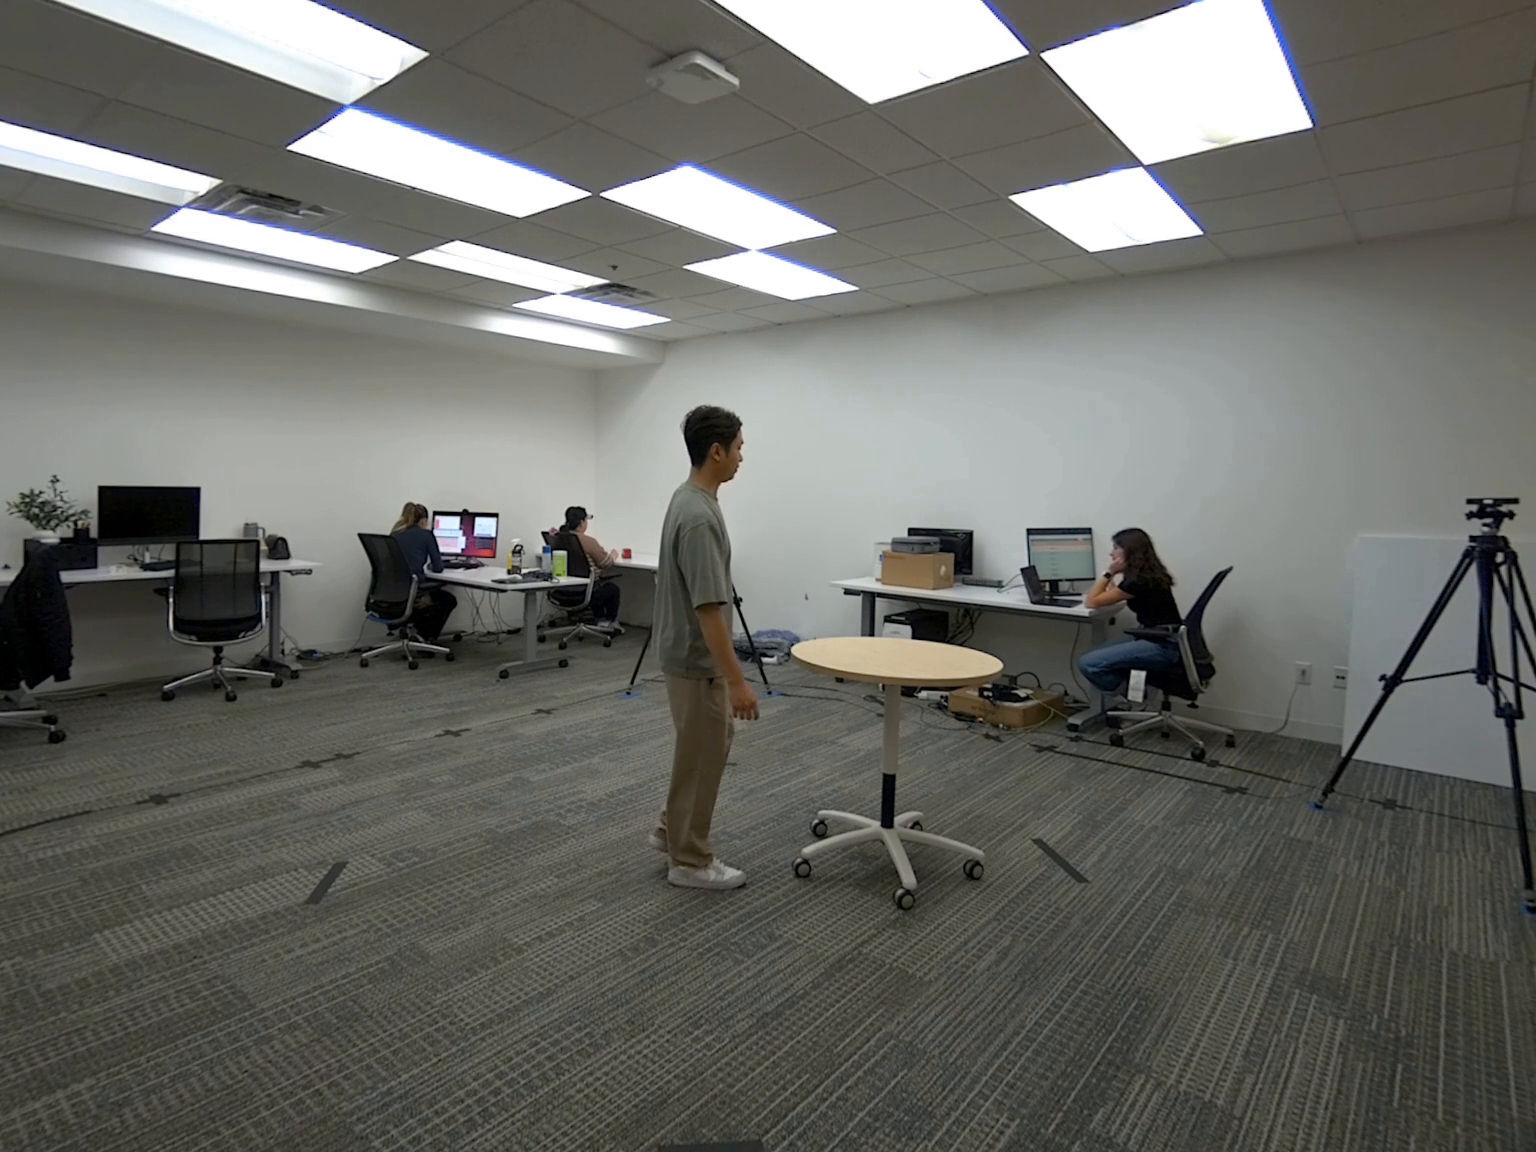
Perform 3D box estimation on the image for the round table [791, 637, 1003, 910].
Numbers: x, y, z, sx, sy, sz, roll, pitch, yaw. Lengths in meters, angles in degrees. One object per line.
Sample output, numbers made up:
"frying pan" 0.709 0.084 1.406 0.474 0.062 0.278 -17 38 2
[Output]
"round table" 0.444 0.686 3.151 0.784 0.784 0.789 2 4 -2
